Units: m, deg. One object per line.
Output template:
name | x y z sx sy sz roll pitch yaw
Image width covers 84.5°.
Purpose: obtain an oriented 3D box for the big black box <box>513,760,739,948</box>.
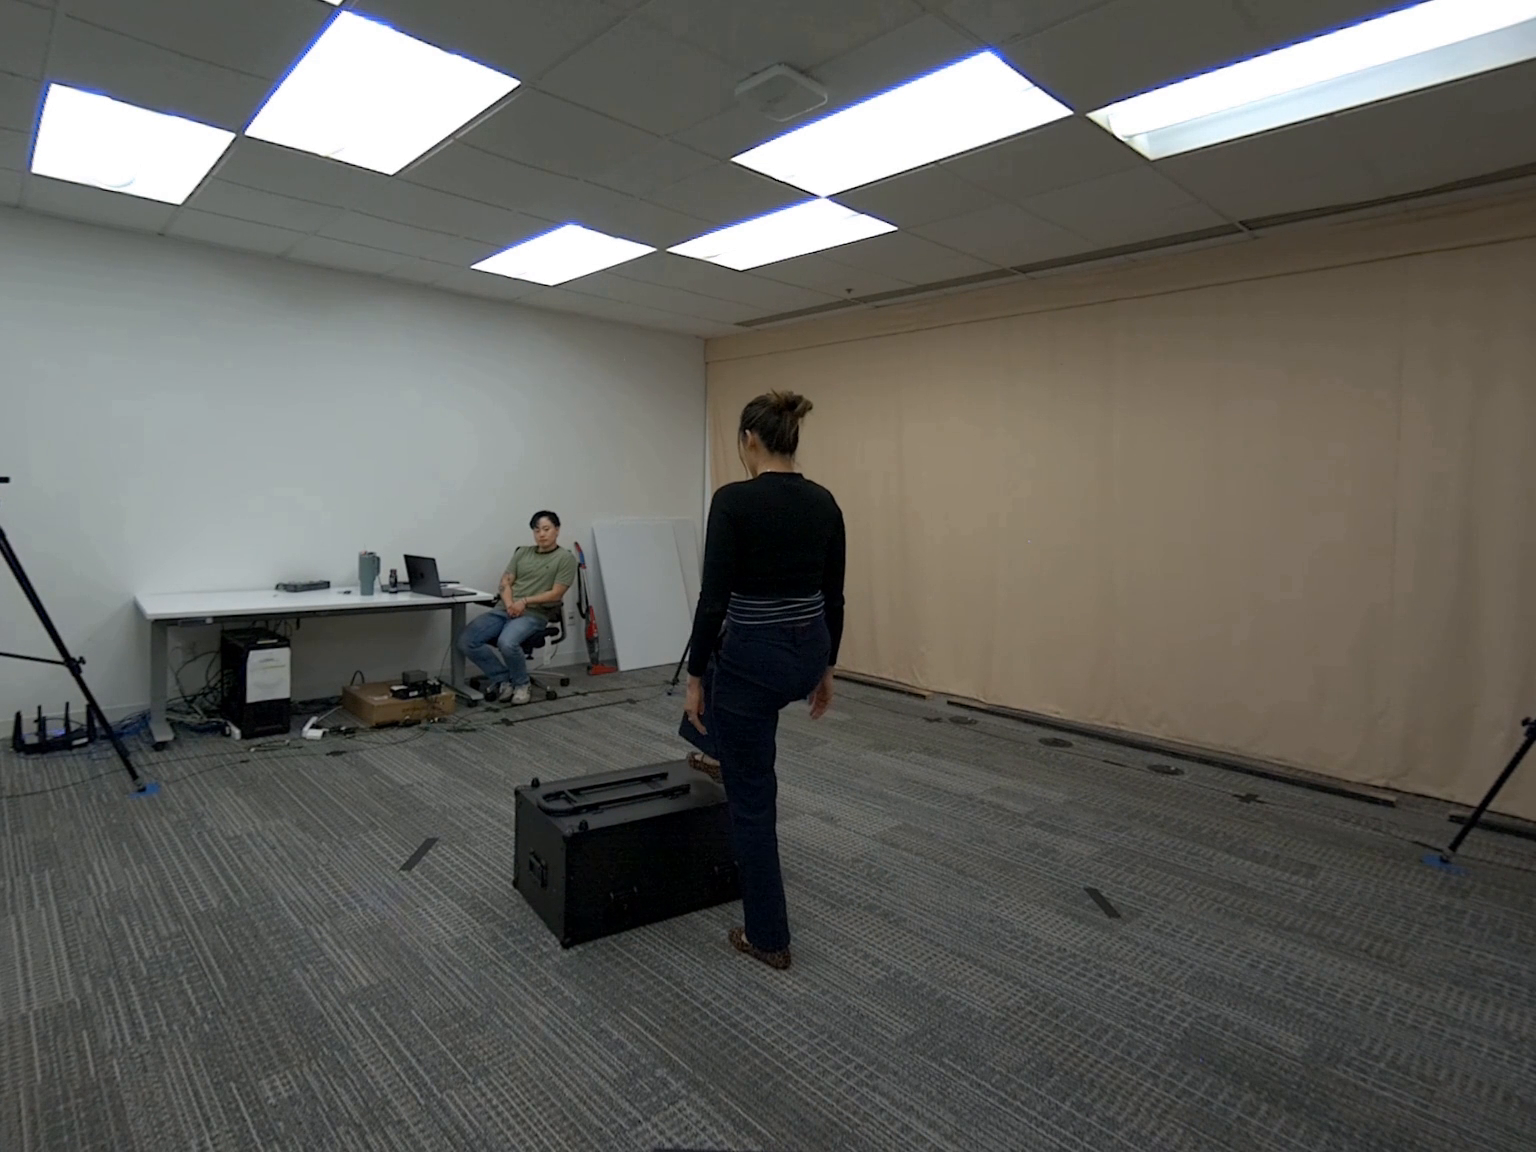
big black box | -0.465 0.937 2.953 0.843 0.395 0.534 -2 6 -33
